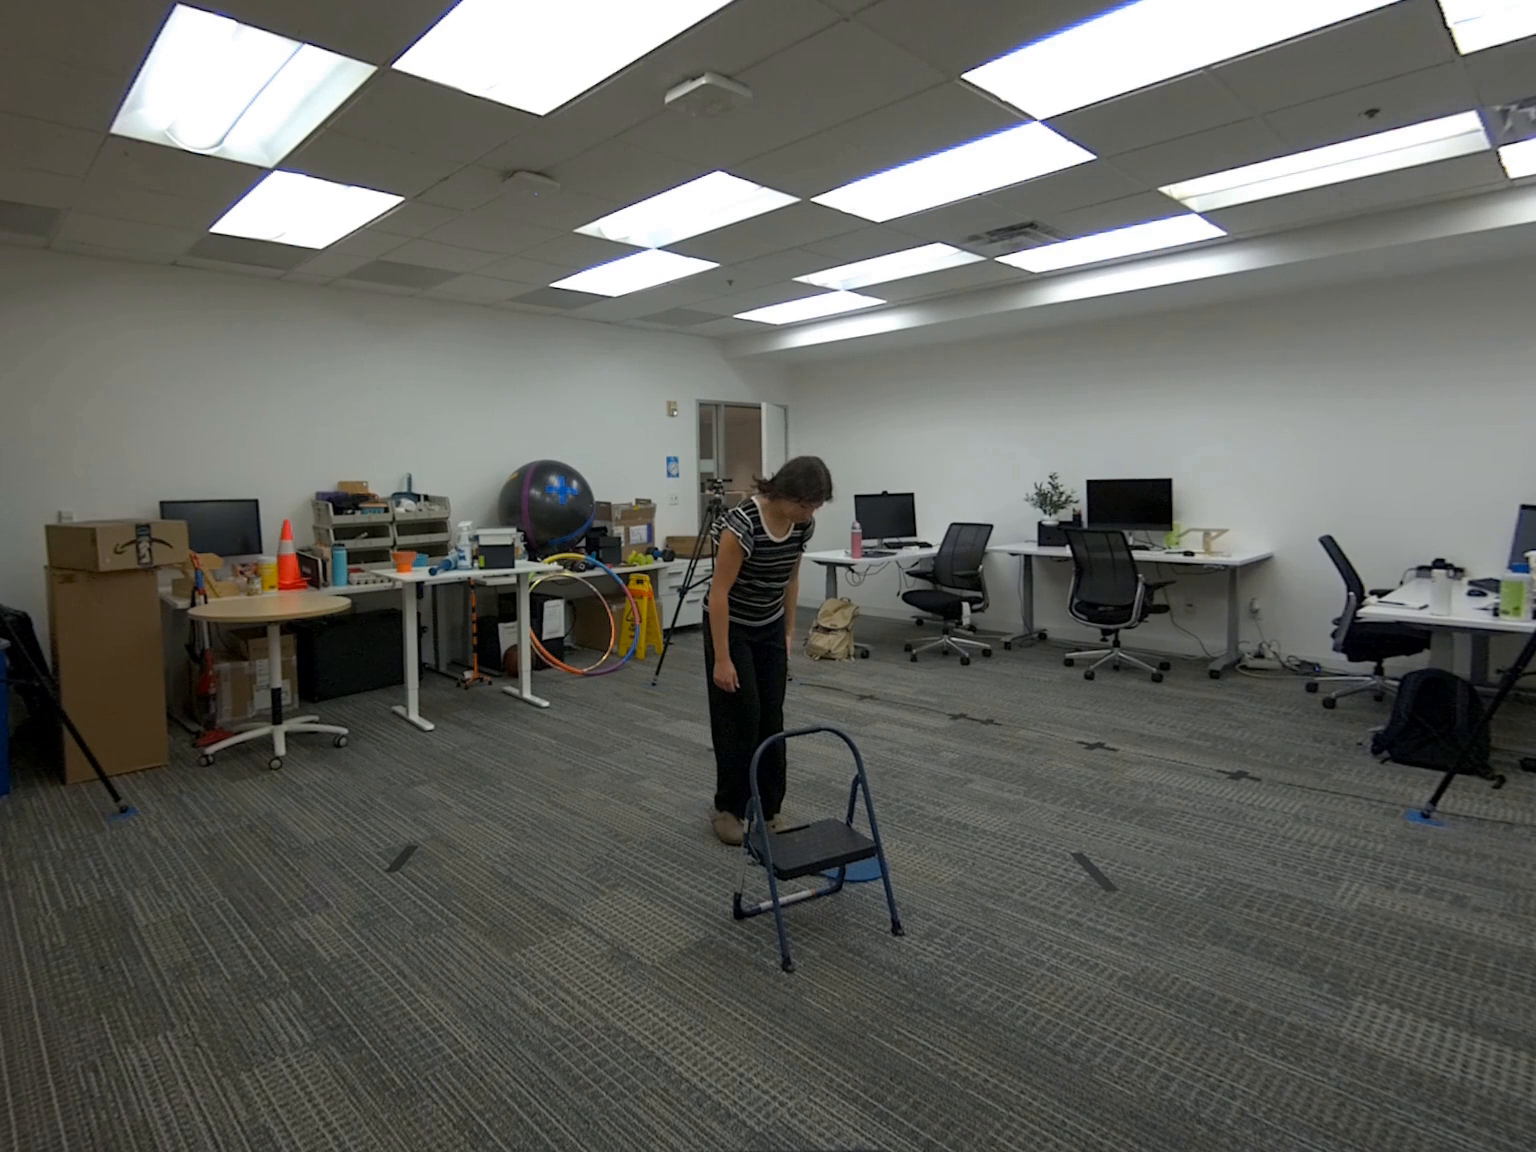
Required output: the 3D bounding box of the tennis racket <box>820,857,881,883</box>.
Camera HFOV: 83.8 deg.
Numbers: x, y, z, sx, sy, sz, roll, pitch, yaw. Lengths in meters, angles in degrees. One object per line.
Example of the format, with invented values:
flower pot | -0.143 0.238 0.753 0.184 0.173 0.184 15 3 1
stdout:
tennis racket | 0.221 1.034 3.039 0.430 0.031 0.216 0 5 -7
